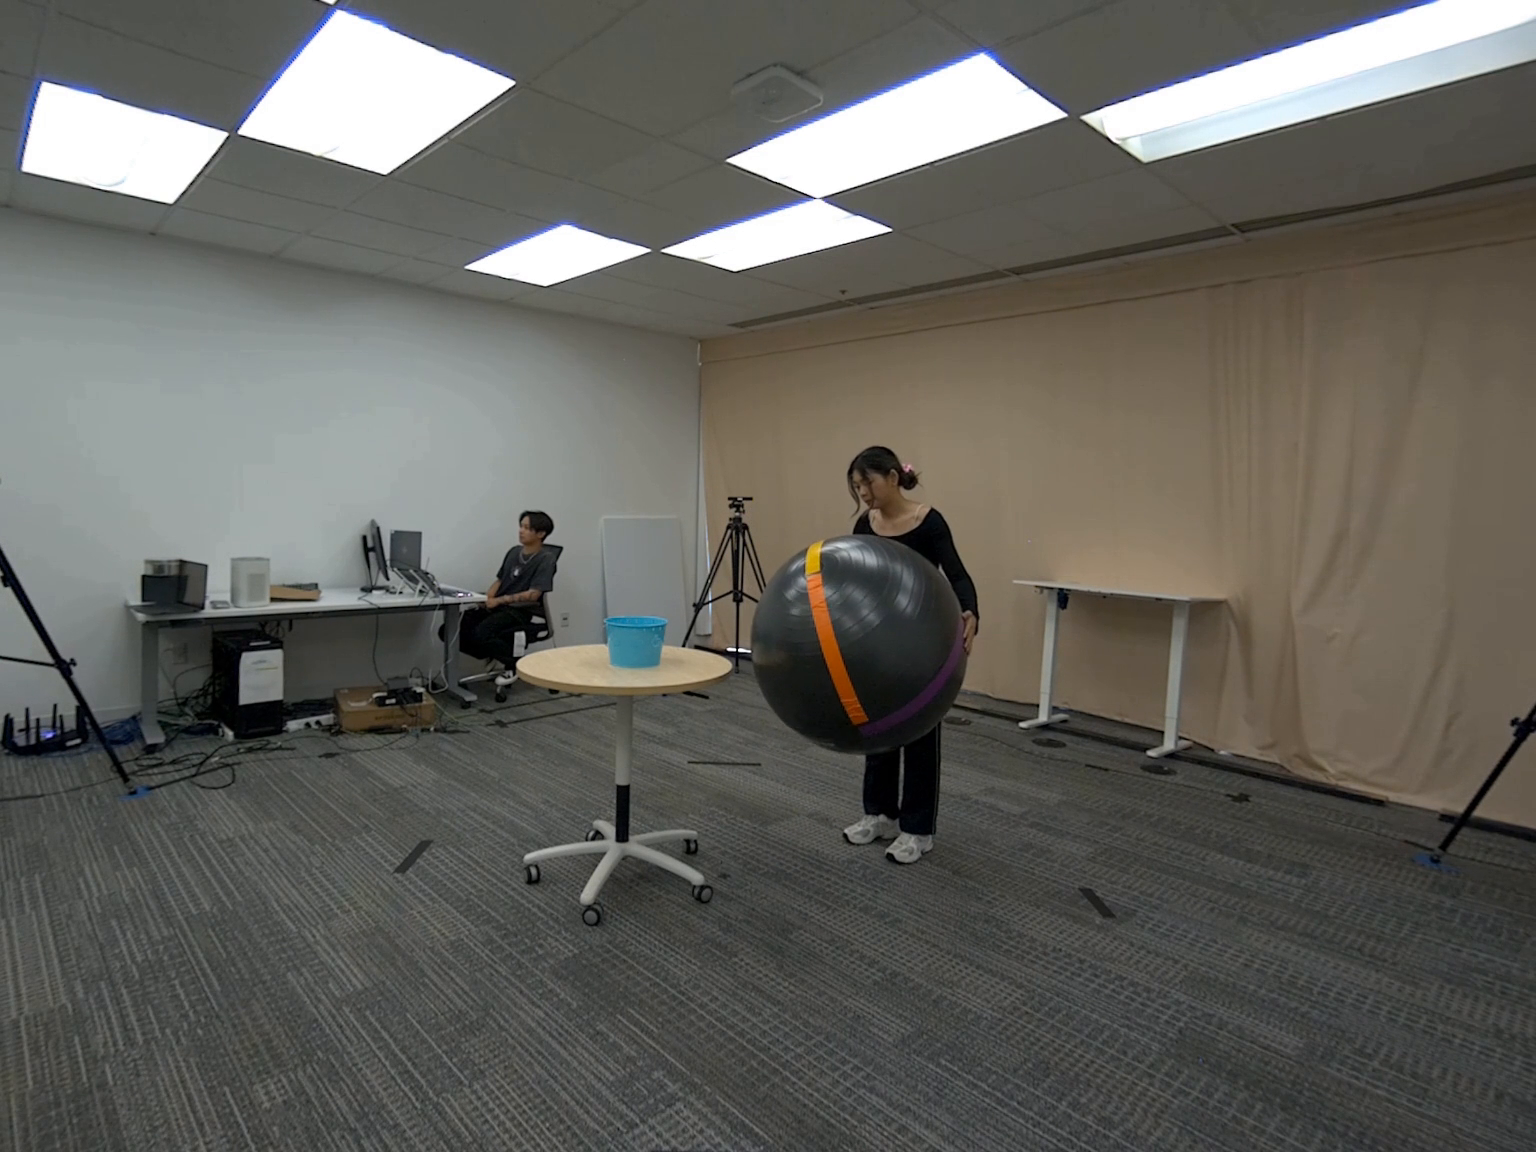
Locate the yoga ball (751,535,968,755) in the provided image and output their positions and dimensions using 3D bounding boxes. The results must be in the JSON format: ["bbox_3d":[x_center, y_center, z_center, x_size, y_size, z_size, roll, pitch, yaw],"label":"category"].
[{"bbox_3d":[0.321,0.239,2.941,0.757,0.756,0.761,1,4,-1],"label":"yoga ball"}]
